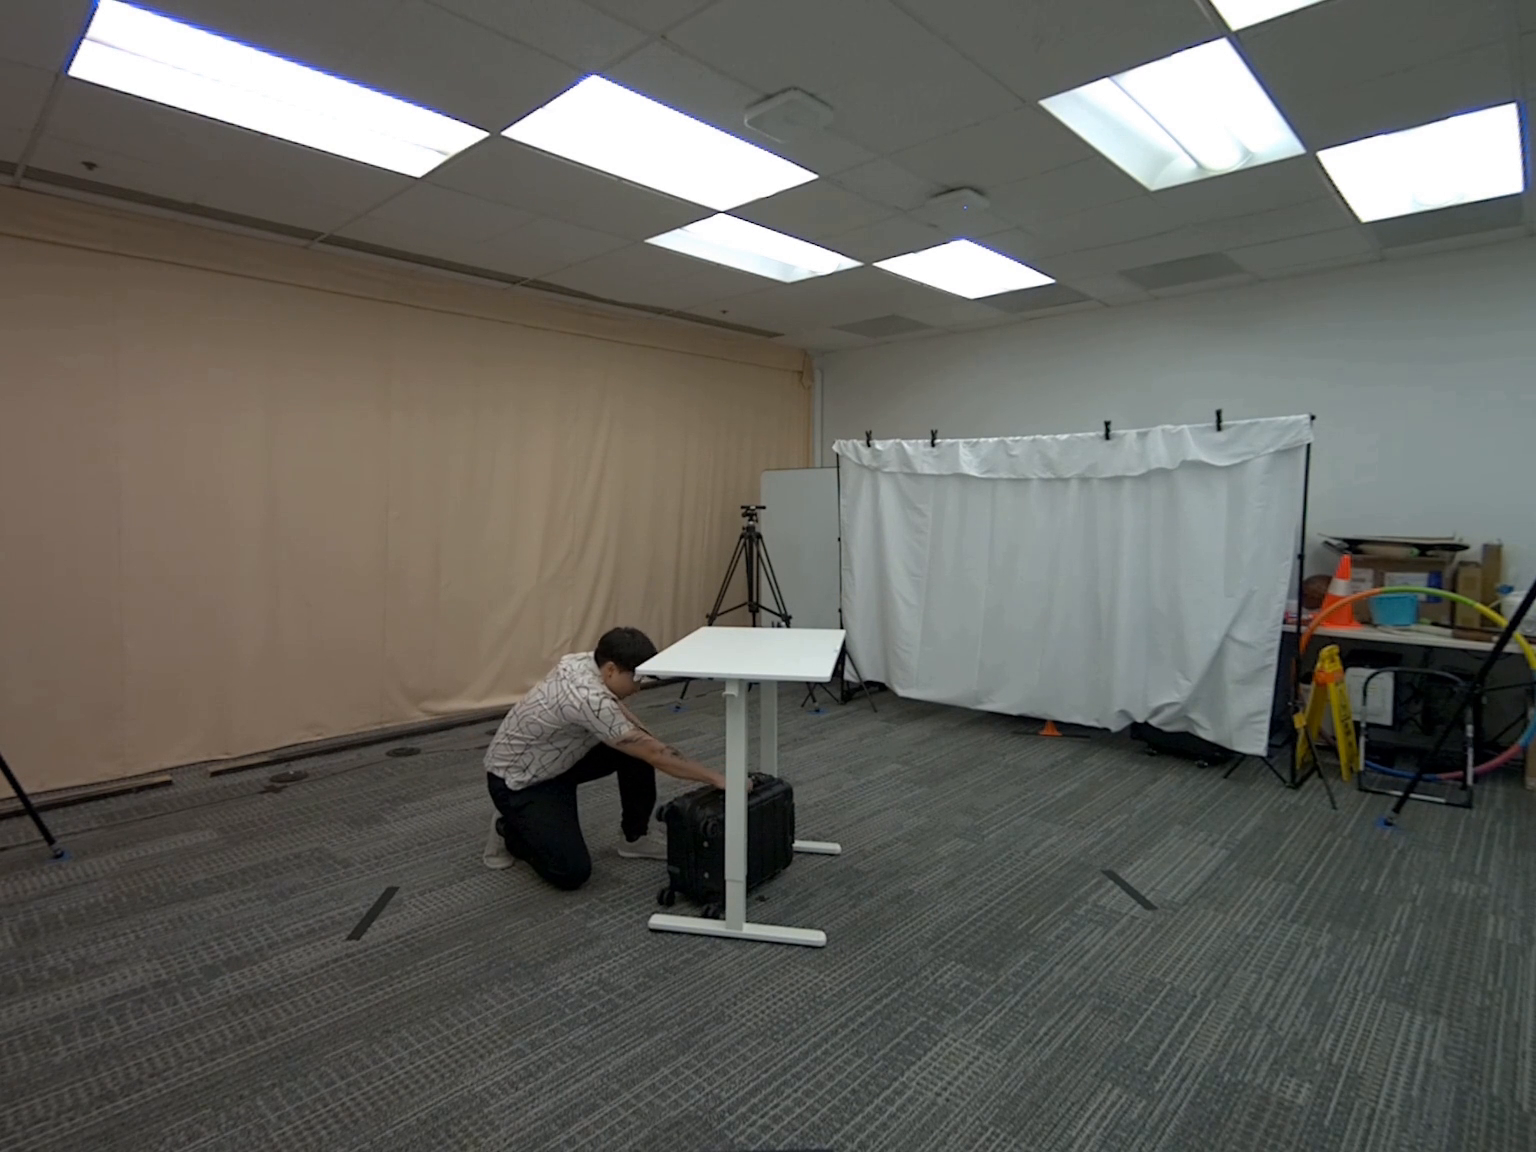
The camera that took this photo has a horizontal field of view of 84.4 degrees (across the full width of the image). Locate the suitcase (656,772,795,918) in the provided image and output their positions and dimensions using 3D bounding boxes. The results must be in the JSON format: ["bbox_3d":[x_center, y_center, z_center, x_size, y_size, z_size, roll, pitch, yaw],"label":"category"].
[{"bbox_3d":[-0.132,0.941,3.065,0.256,0.374,0.533,2,5,37],"label":"suitcase"}]
